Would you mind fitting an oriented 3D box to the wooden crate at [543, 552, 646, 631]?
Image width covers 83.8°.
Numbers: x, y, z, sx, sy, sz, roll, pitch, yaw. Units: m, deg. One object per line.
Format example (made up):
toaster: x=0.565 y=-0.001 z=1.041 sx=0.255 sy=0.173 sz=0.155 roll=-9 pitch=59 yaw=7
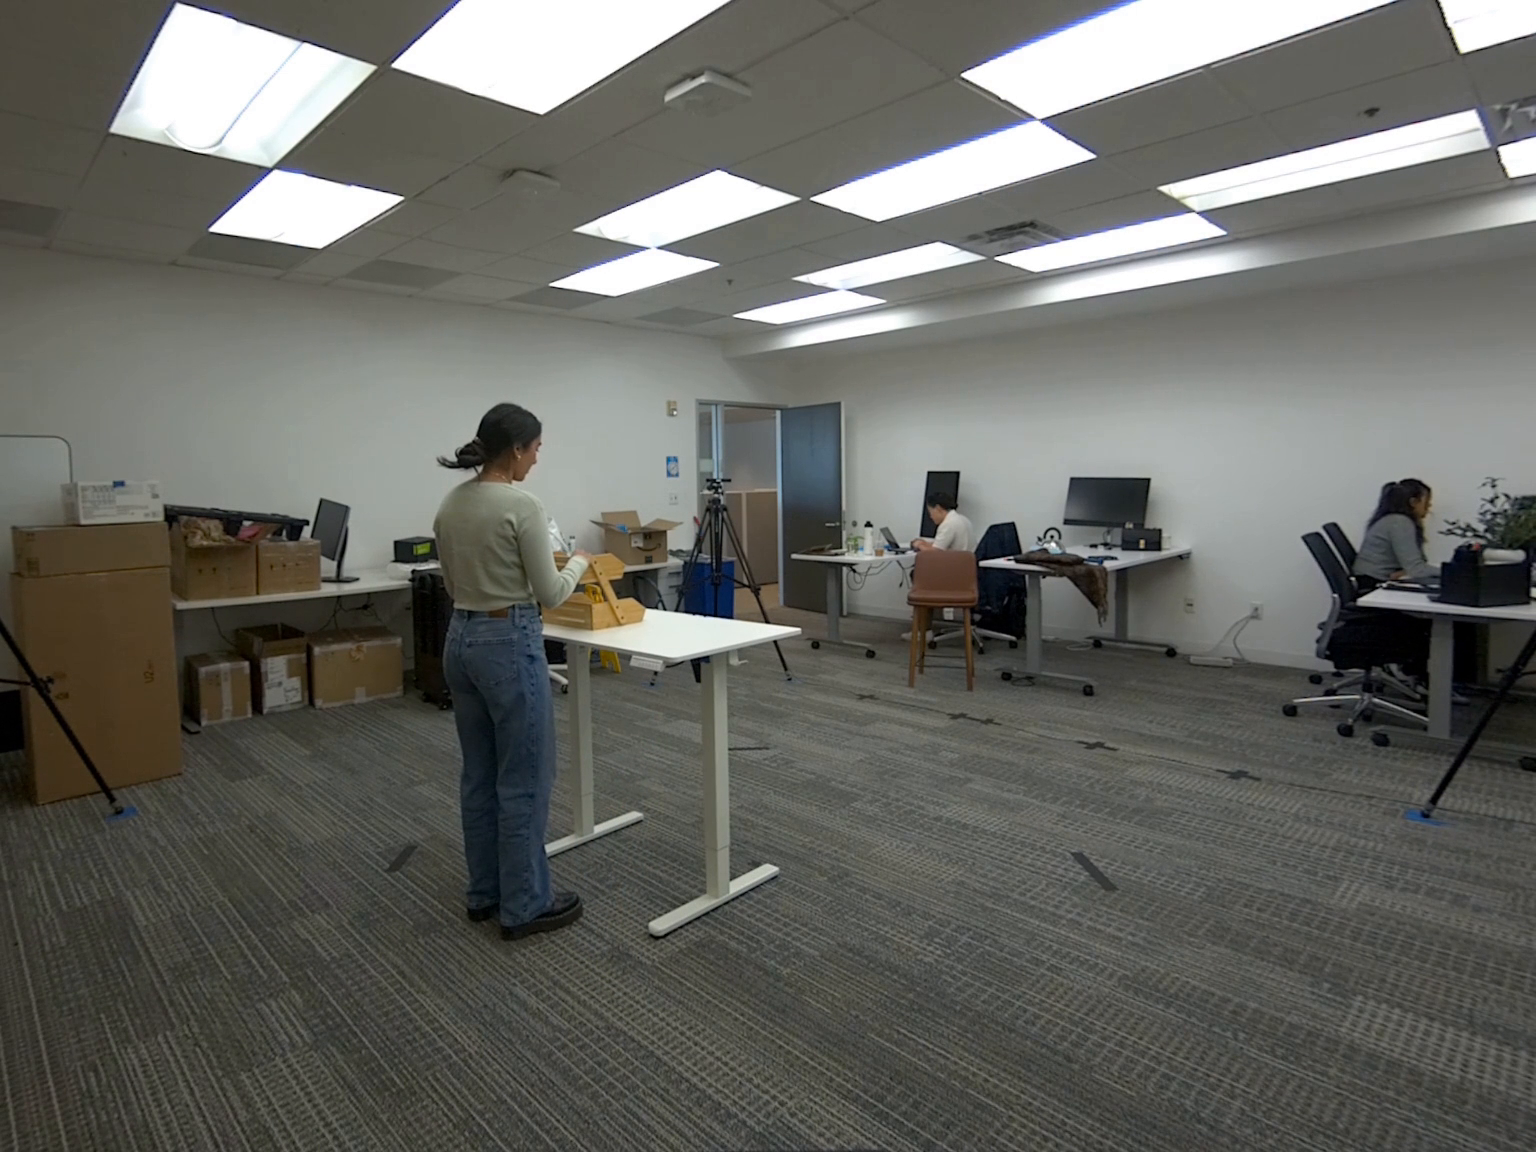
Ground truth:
wooden crate: x=-0.666 y=0.041 z=3.128 sx=0.334 sy=0.272 sz=0.294 roll=3 pitch=7 yaw=42
